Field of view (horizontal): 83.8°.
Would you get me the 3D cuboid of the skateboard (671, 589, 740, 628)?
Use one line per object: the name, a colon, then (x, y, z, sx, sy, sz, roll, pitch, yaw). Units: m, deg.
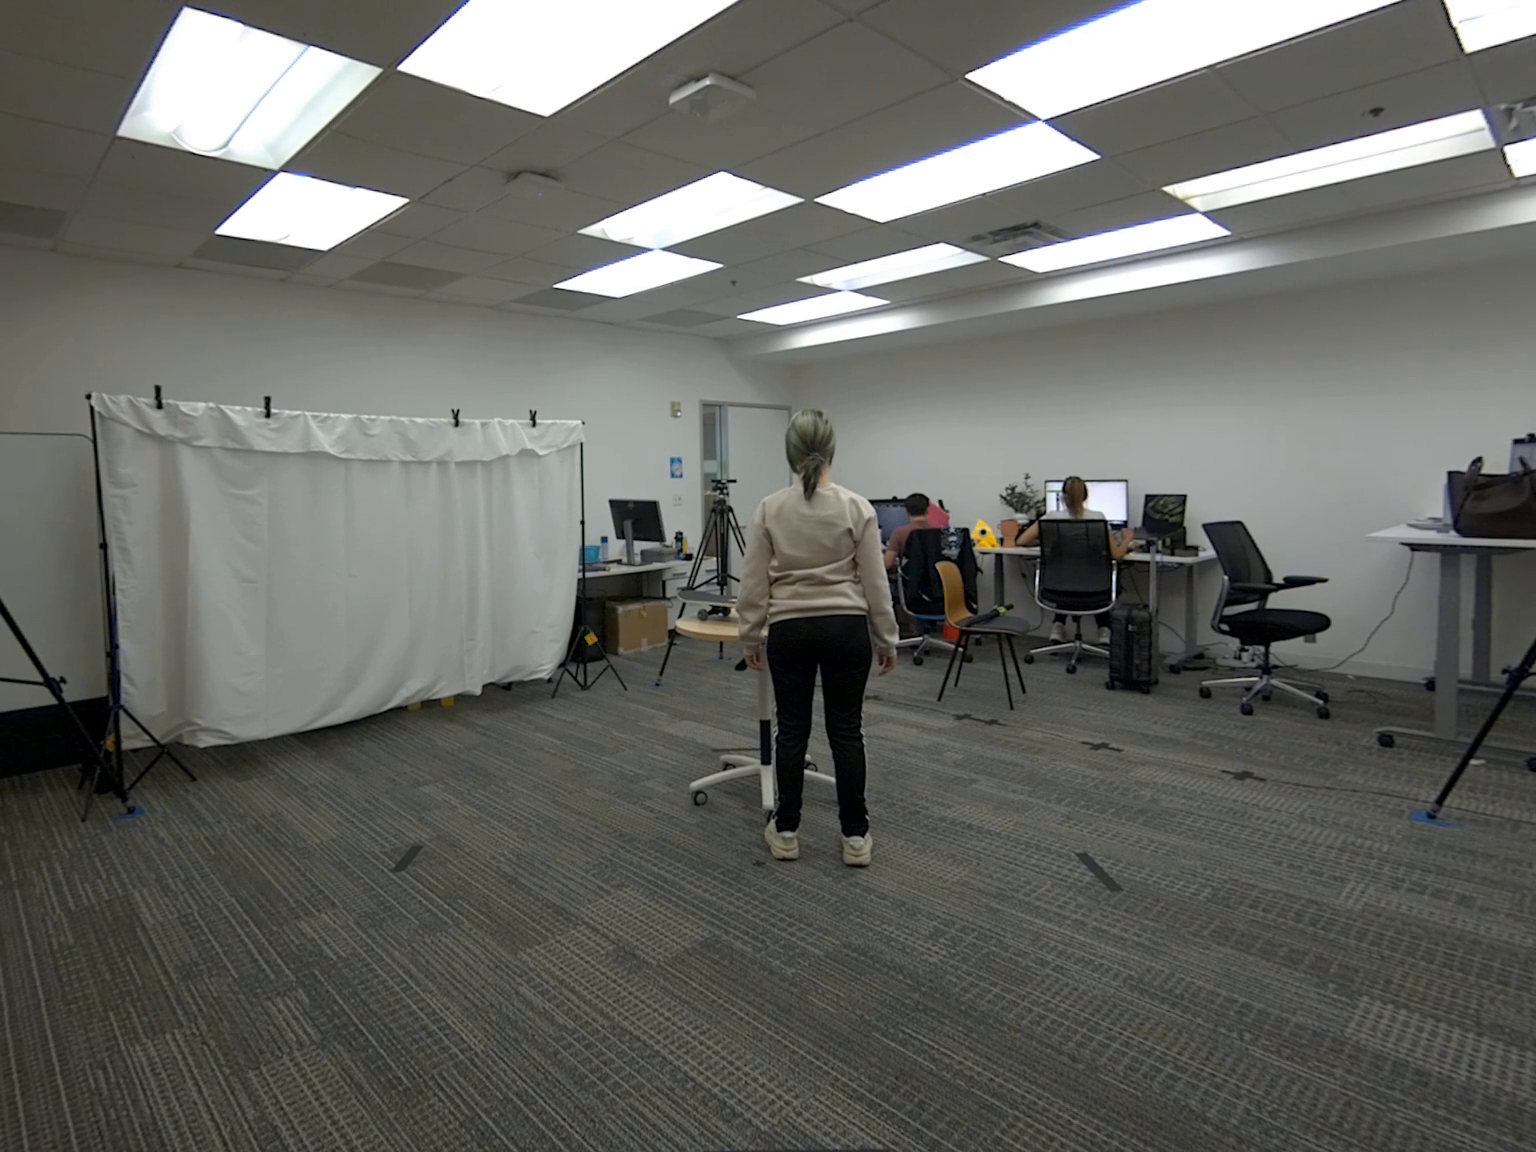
skateboard: (-0.073, 0.148, 3.694, 0.809, 0.109, 0.189, 4, 10, 42)
